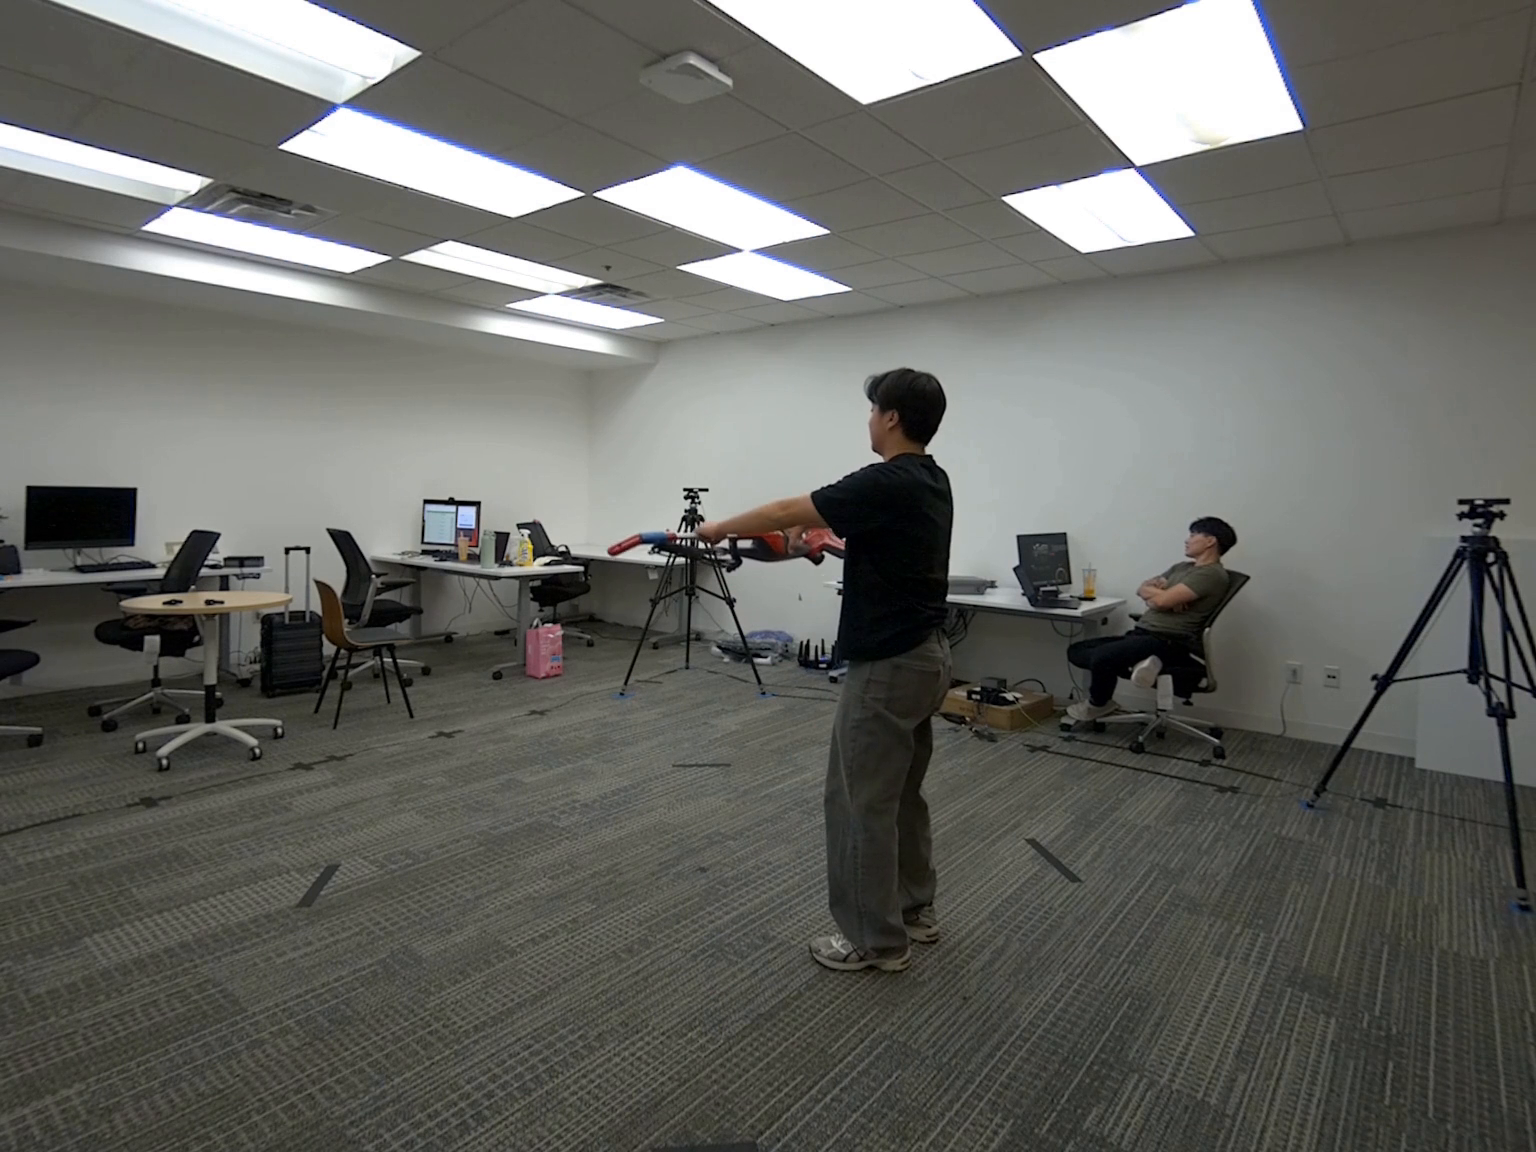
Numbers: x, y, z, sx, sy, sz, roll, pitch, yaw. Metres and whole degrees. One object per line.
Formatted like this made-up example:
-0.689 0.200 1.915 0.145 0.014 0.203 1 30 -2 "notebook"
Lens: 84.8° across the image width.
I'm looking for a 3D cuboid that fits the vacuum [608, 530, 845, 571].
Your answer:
-0.132 -0.107 2.862 0.263 0.143 1.017 38 26 33 "vacuum"
